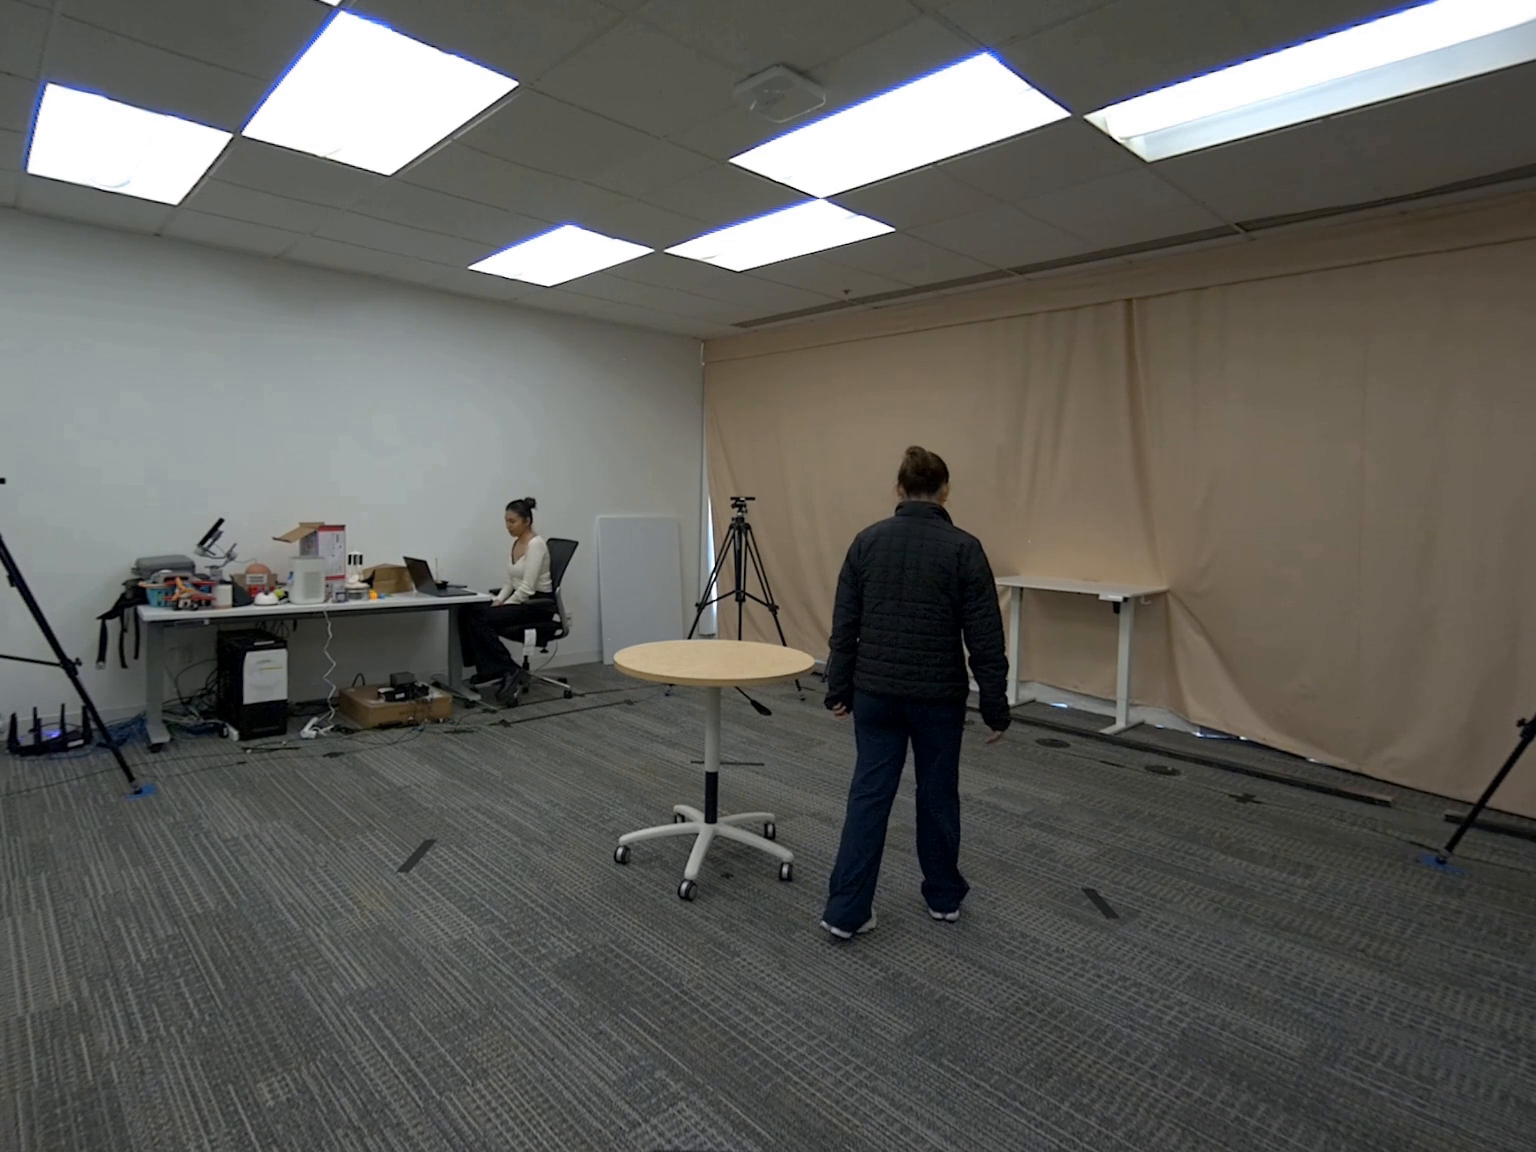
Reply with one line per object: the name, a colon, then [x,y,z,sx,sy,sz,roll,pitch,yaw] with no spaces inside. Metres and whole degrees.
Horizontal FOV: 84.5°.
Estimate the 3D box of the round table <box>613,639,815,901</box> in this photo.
round table: [-0.205,0.701,3.230,0.784,0.784,0.788,1,4,-1]
